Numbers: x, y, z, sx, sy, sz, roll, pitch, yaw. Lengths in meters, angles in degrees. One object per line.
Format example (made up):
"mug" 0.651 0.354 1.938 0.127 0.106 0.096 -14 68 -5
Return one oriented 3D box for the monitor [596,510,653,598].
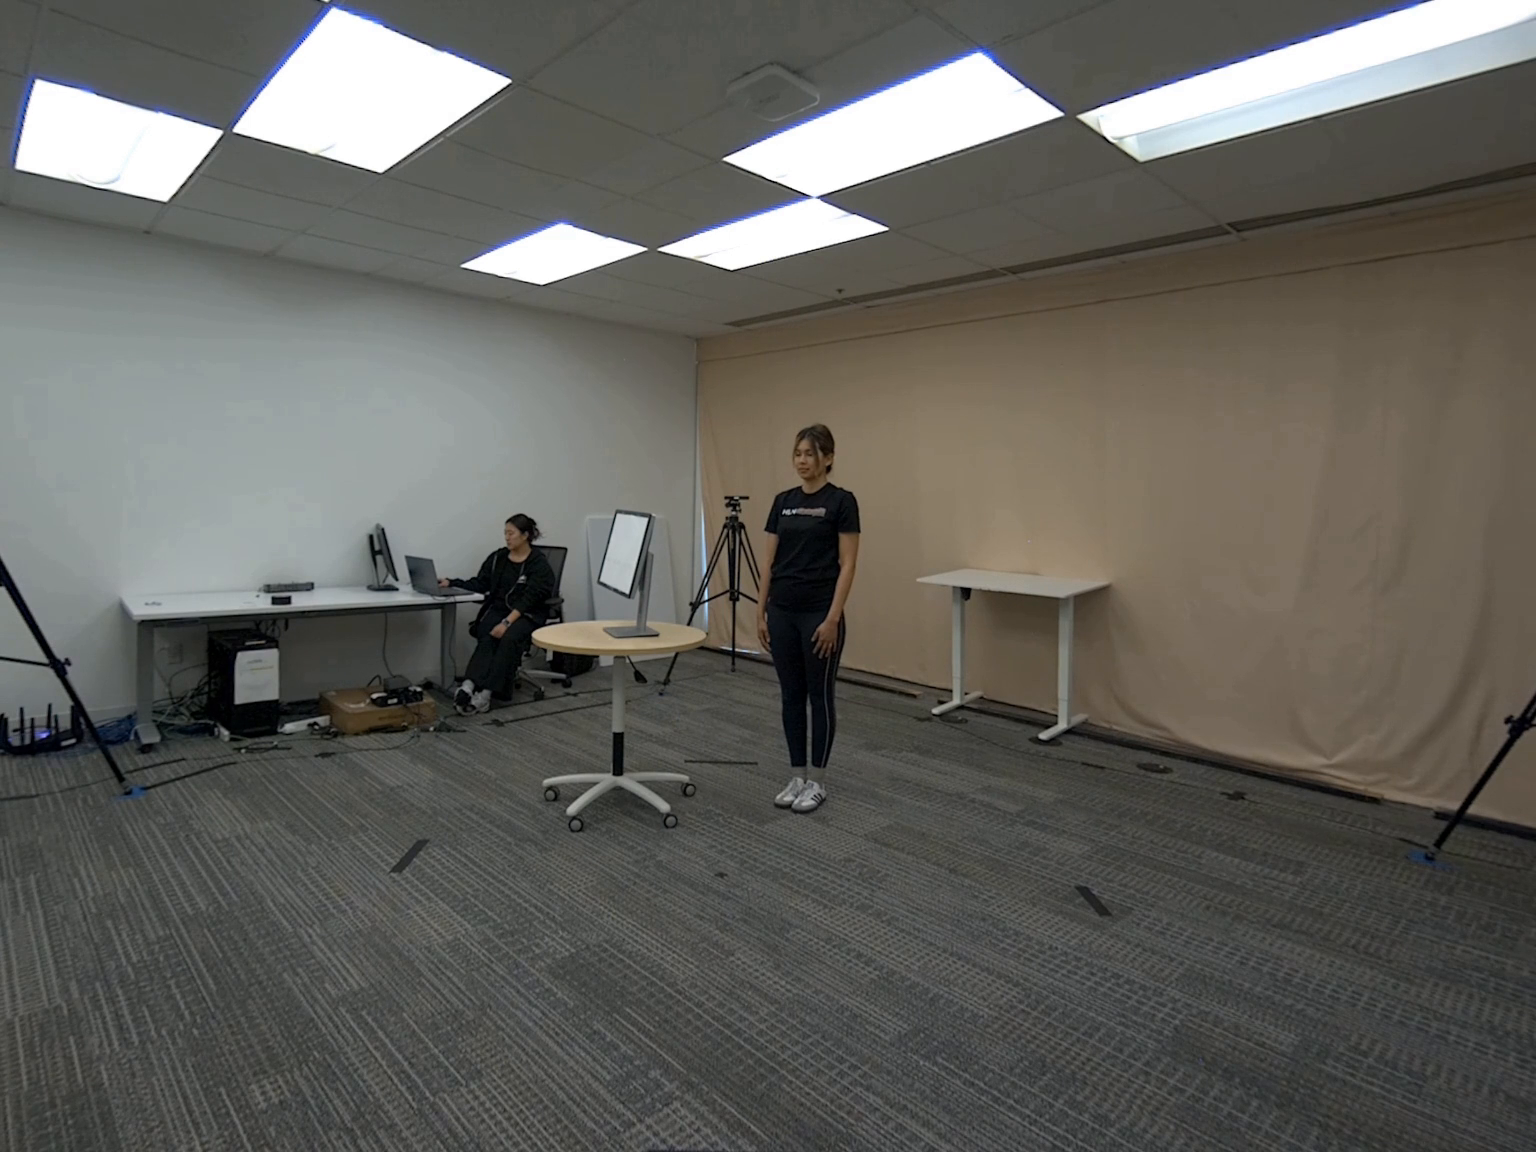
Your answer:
"monitor" -0.611 -0.012 3.747 0.183 0.521 0.551 0 5 -27
